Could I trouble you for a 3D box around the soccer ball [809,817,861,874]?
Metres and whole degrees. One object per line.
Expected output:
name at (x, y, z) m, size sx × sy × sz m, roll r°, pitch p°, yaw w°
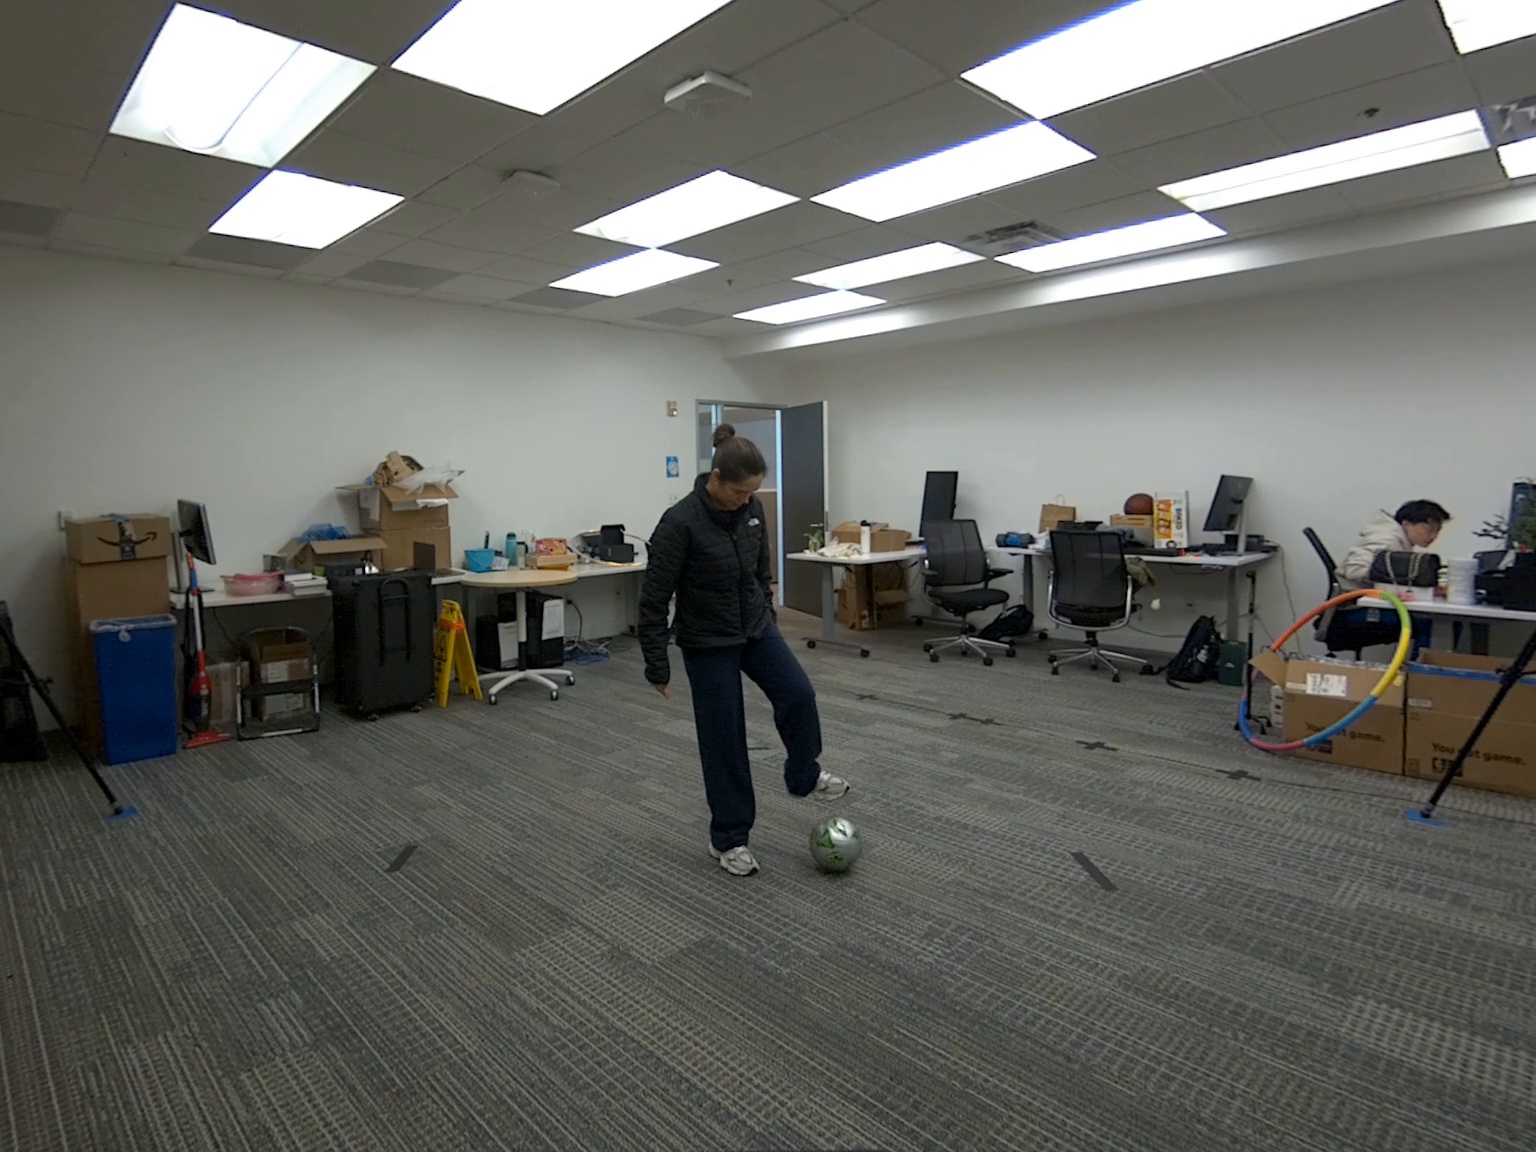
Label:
soccer ball at (0.247, 0.949, 3.039) m, size 0.187 × 0.187 × 0.188 m, roll -1°, pitch 5°, yaw -2°
